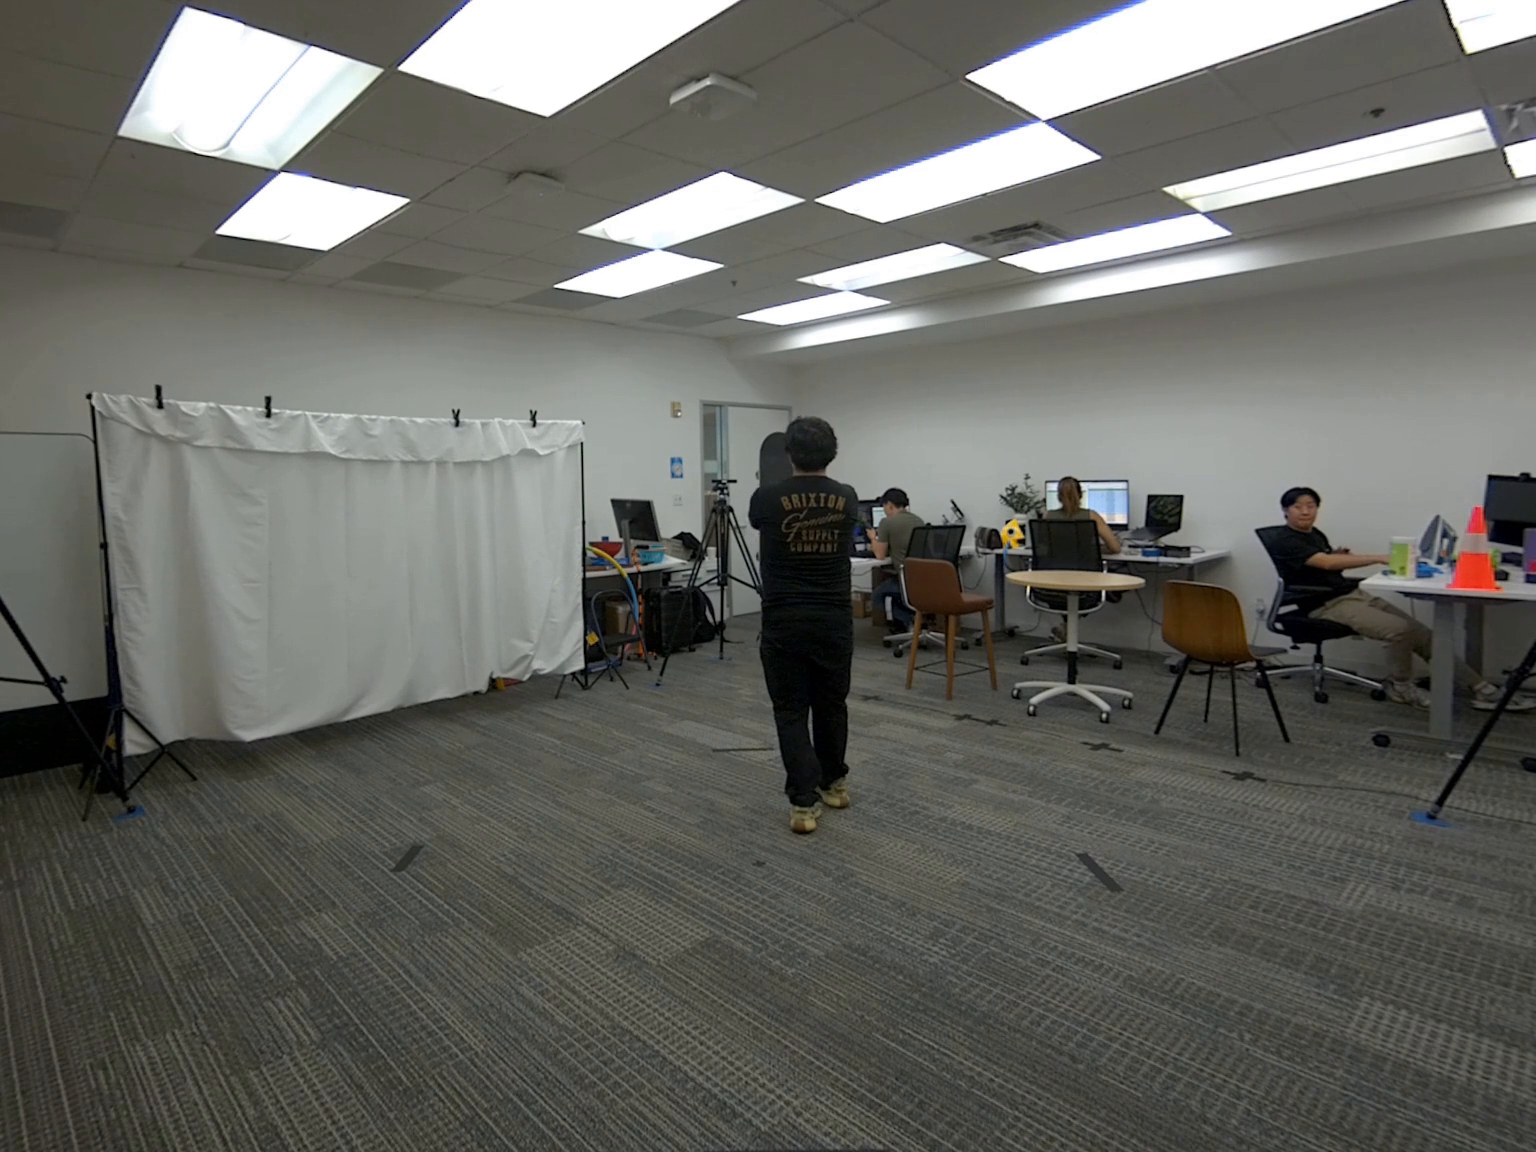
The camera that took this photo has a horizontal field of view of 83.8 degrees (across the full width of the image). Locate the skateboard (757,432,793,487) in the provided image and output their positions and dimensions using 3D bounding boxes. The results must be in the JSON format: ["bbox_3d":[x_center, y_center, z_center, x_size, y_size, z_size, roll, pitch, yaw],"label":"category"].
[{"bbox_3d":[0.049,-0.291,4.092,0.191,0.791,0.111,2,-8,-10],"label":"skateboard"}]
